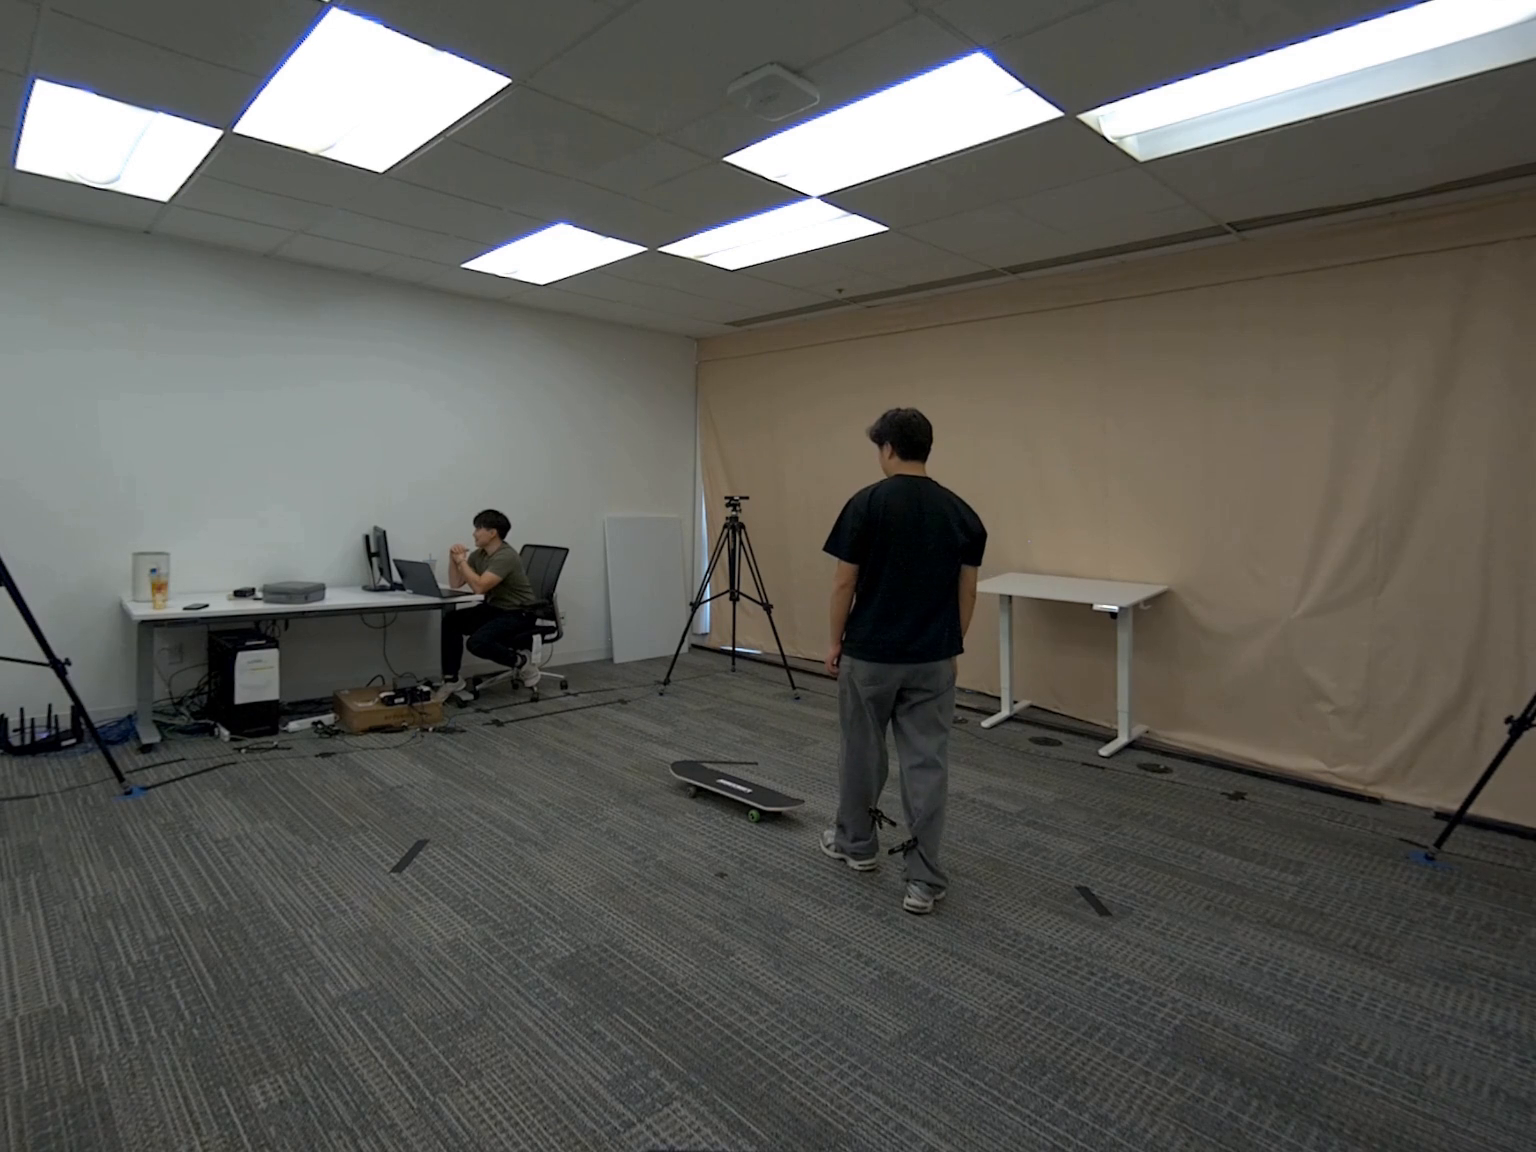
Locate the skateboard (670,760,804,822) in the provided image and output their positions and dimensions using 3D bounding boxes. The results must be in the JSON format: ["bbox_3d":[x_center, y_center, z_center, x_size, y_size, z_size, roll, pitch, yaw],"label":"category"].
[{"bbox_3d":[-0.164,0.984,3.823,0.806,0.110,0.189,6,7,43],"label":"skateboard"}]
